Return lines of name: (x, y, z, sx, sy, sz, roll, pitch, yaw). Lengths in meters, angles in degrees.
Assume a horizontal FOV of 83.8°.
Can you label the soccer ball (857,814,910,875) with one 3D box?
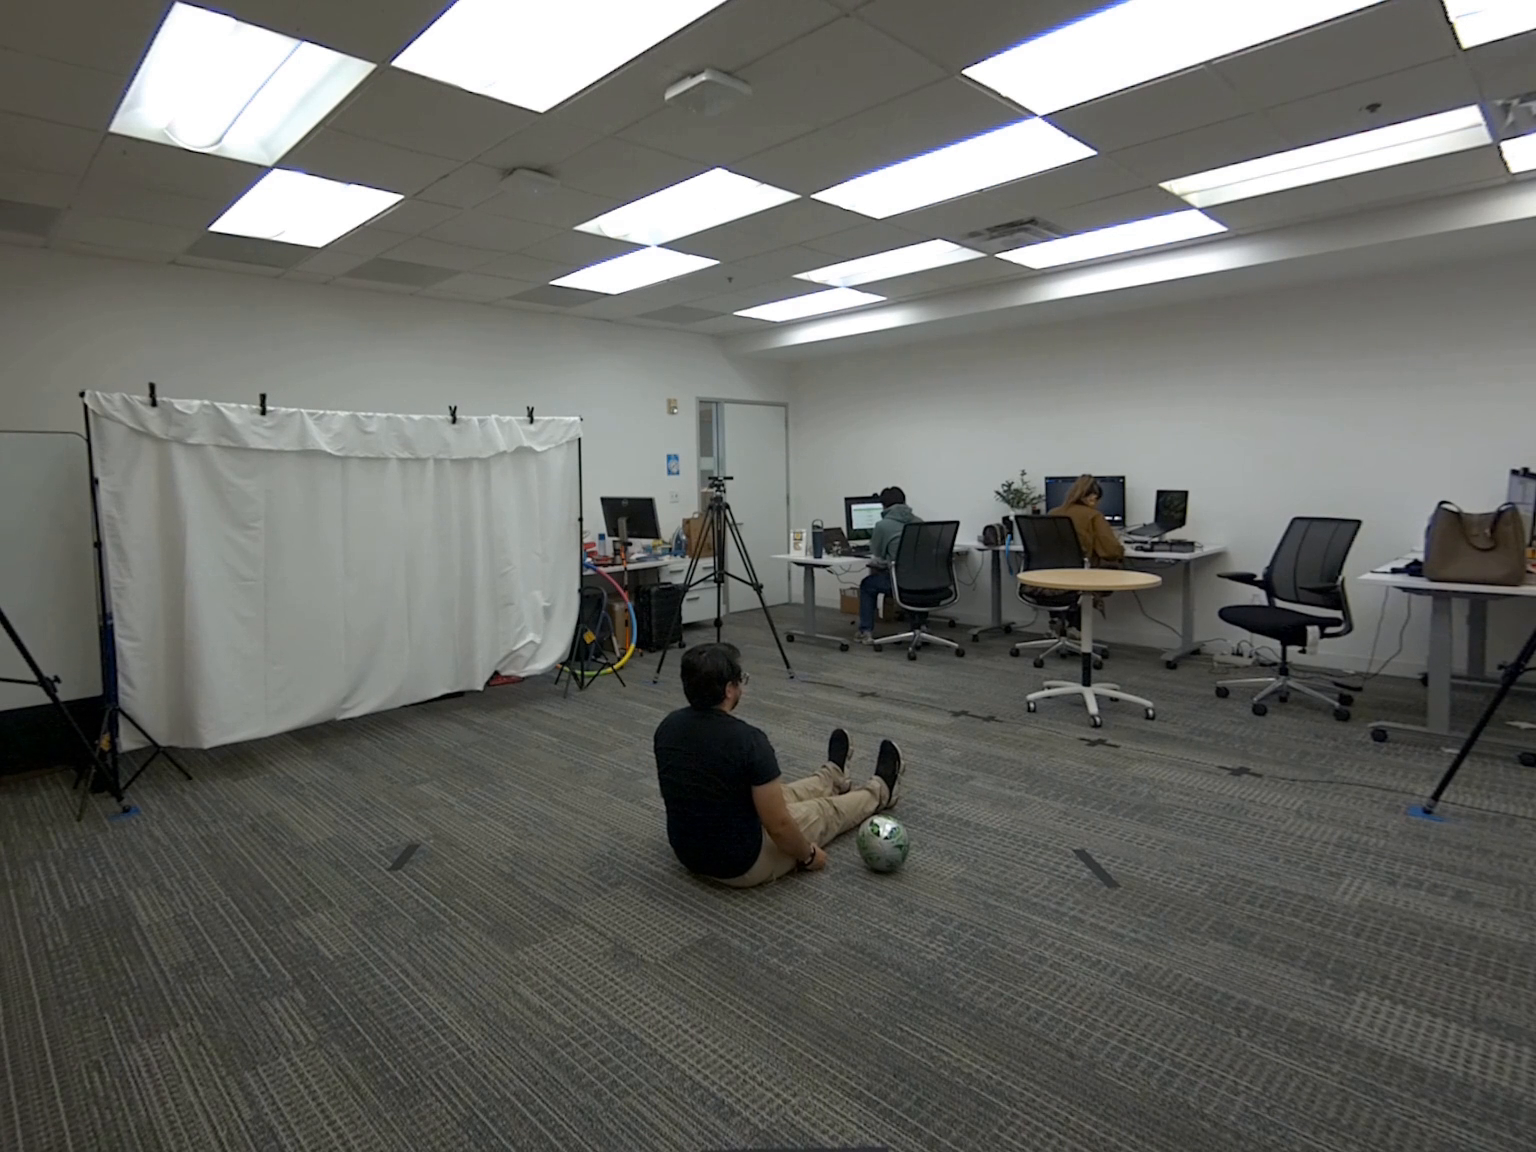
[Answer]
soccer ball: (0.404, 0.934, 3.012, 0.187, 0.187, 0.188, -1, 4, -2)
